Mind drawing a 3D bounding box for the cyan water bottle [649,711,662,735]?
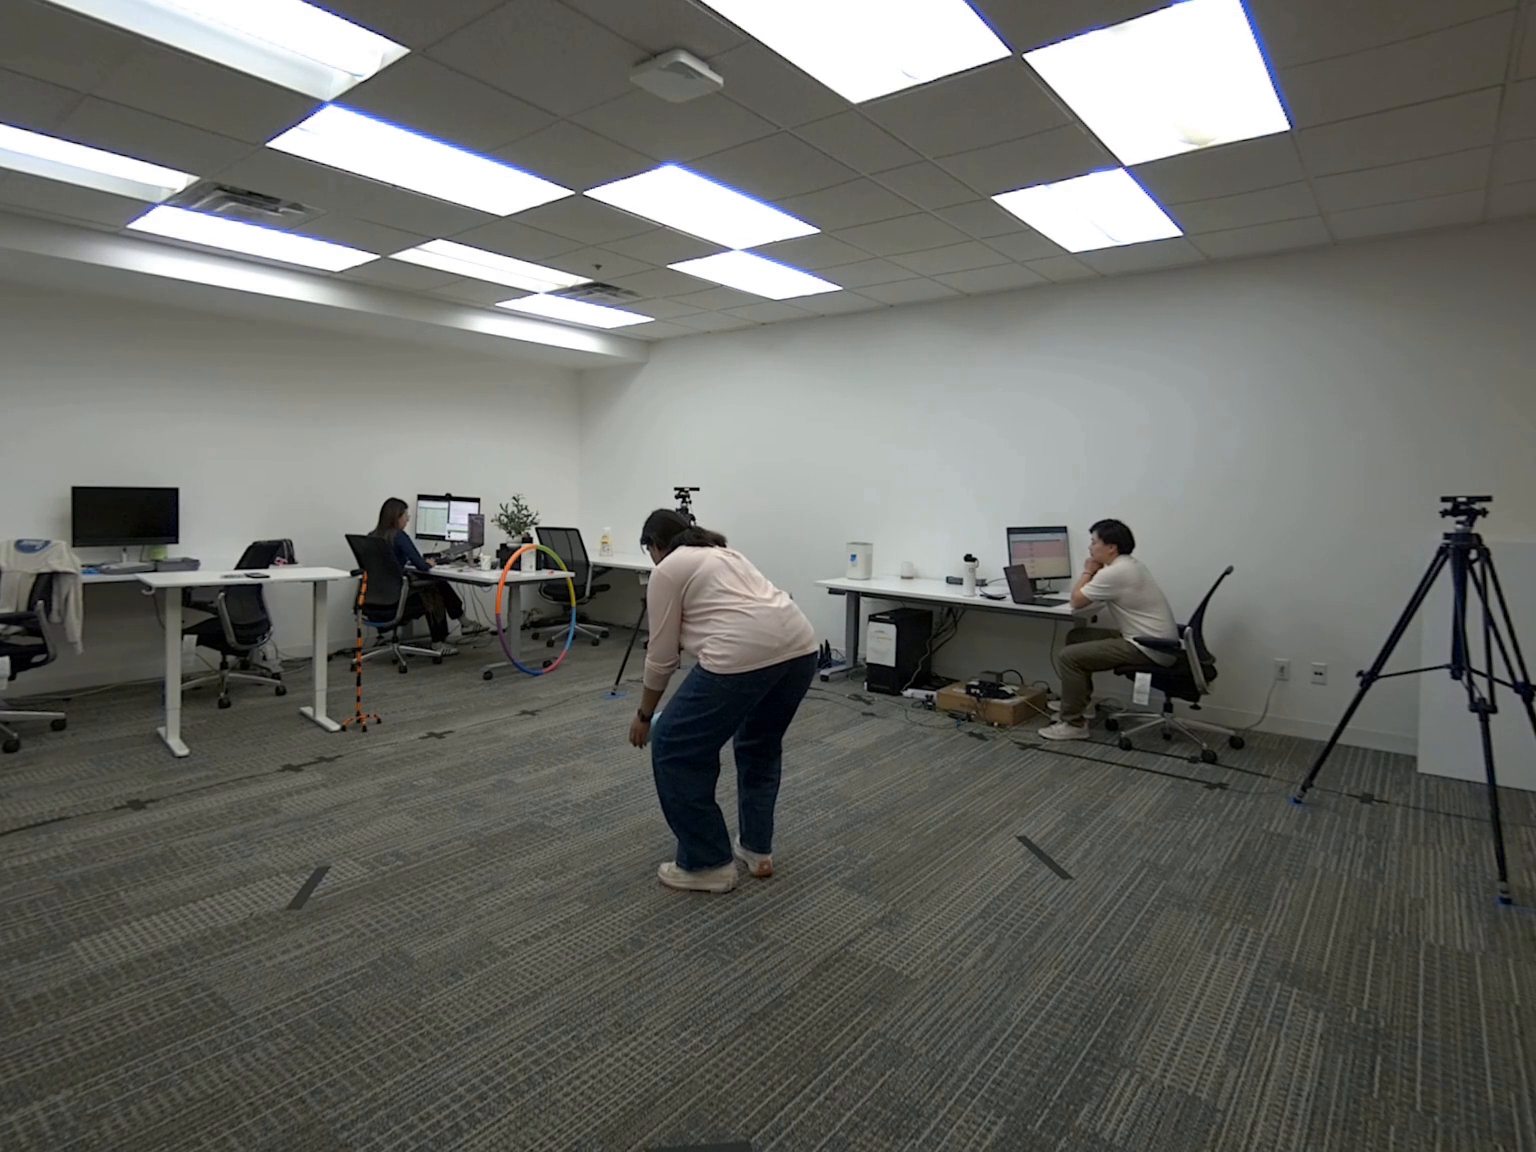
[{"bbox_3d":[-0.413,0.581,3.344,0.095,0.091,0.276,4,11,40],"label":"cyan water bottle"}]
